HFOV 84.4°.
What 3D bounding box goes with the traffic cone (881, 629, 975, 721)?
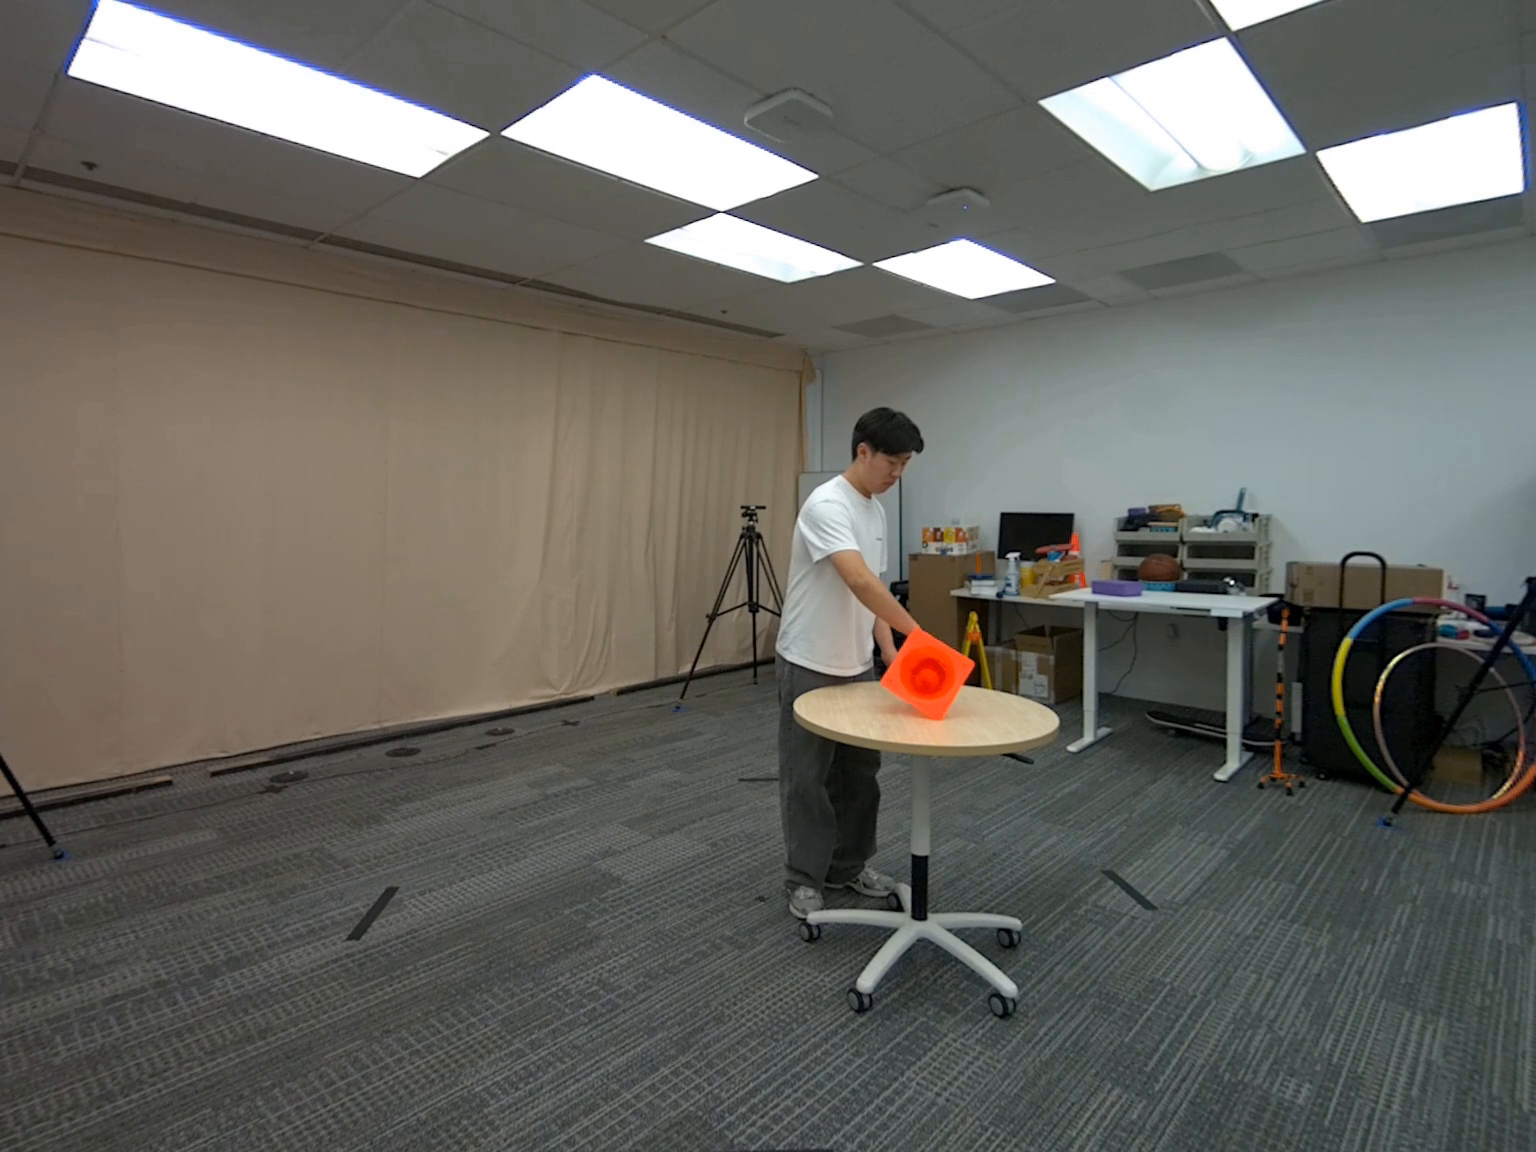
[{"bbox_3d":[0.508,0.329,2.596,0.210,0.203,0.374,29,-5,19],"label":"traffic cone"}]
